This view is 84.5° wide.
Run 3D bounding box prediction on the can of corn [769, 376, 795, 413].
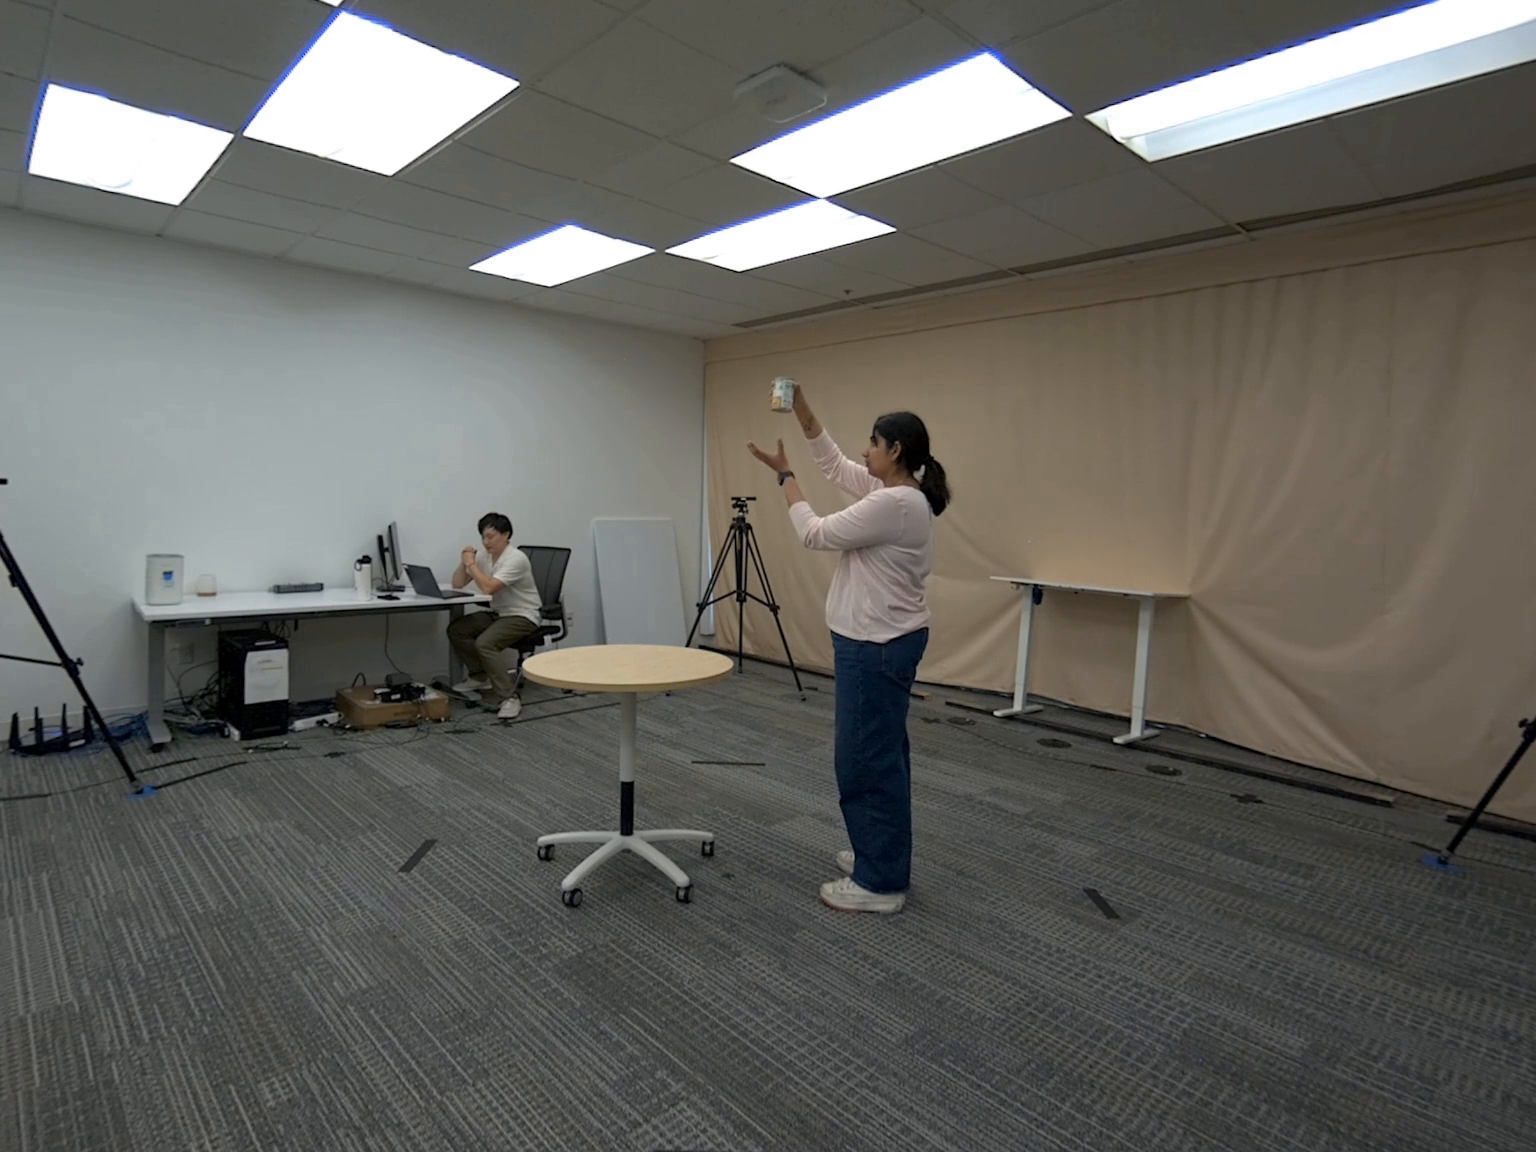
[{"bbox_3d":[0.047,-0.639,2.972,0.074,0.111,0.074,4,4,-2],"label":"can of corn"}]
